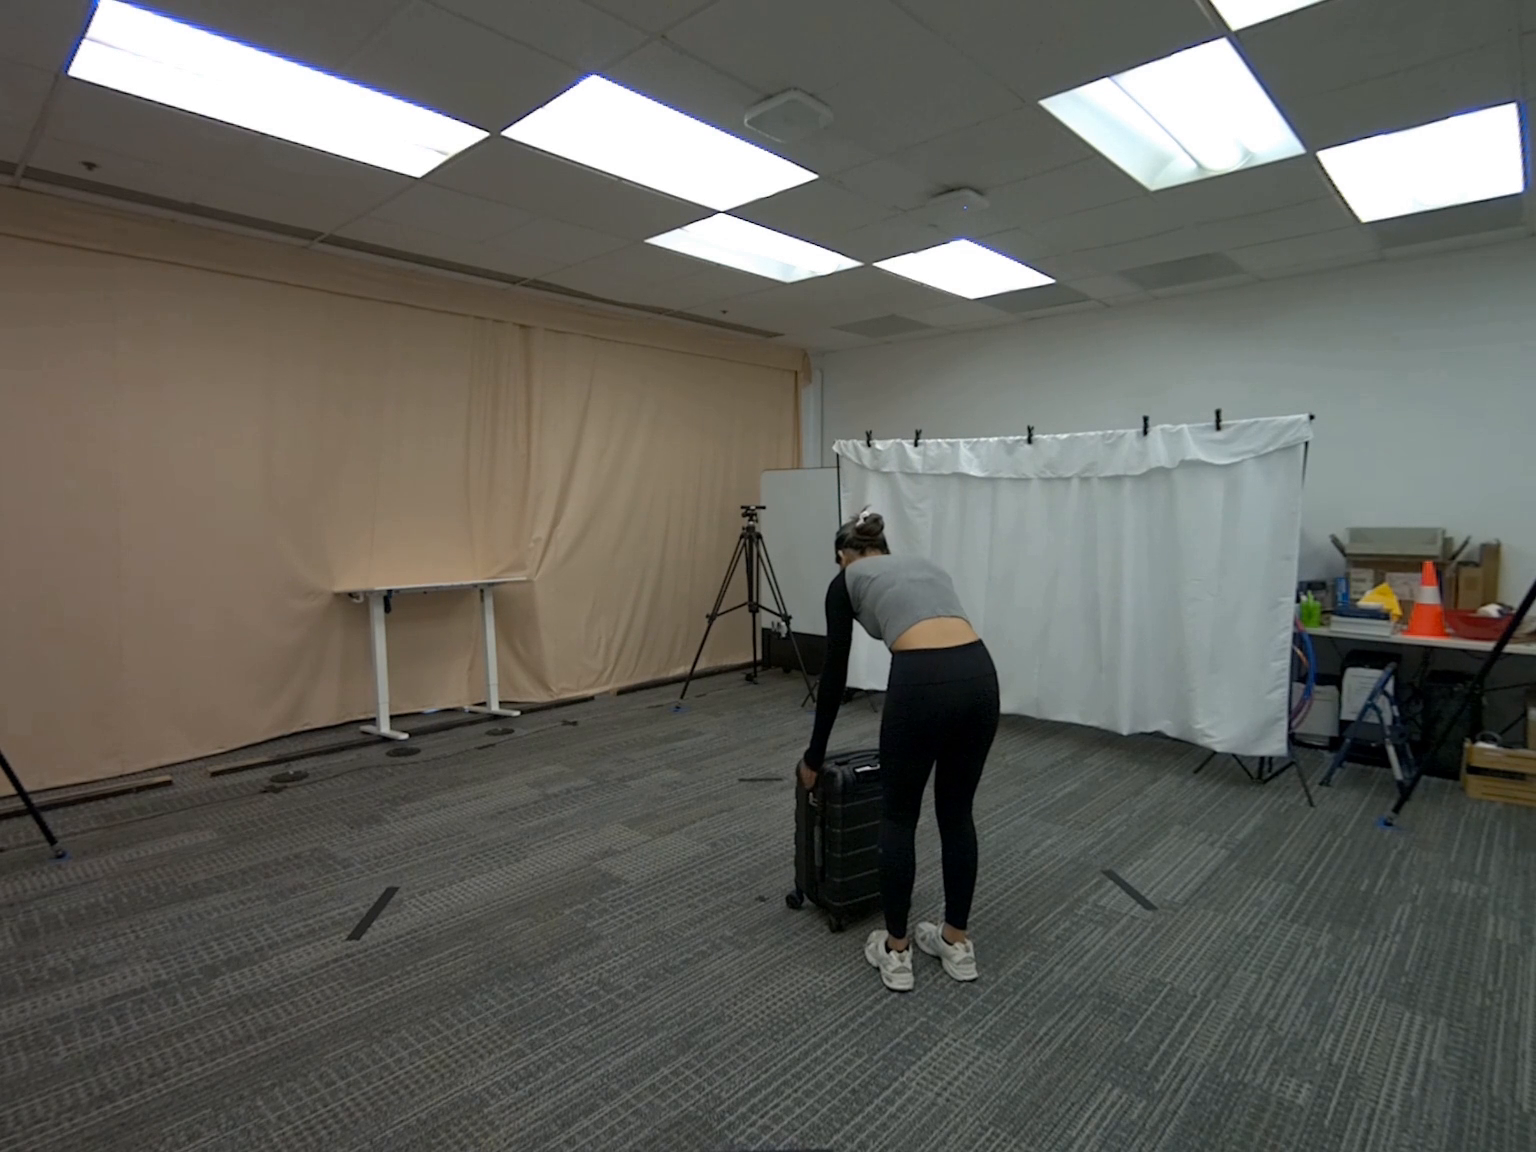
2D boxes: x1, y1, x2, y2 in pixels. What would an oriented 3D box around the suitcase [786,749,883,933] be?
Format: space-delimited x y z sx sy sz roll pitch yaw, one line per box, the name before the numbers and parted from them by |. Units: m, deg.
suitcase | 0.290 0.872 2.883 0.365 0.548 0.255 -2 4 -30
